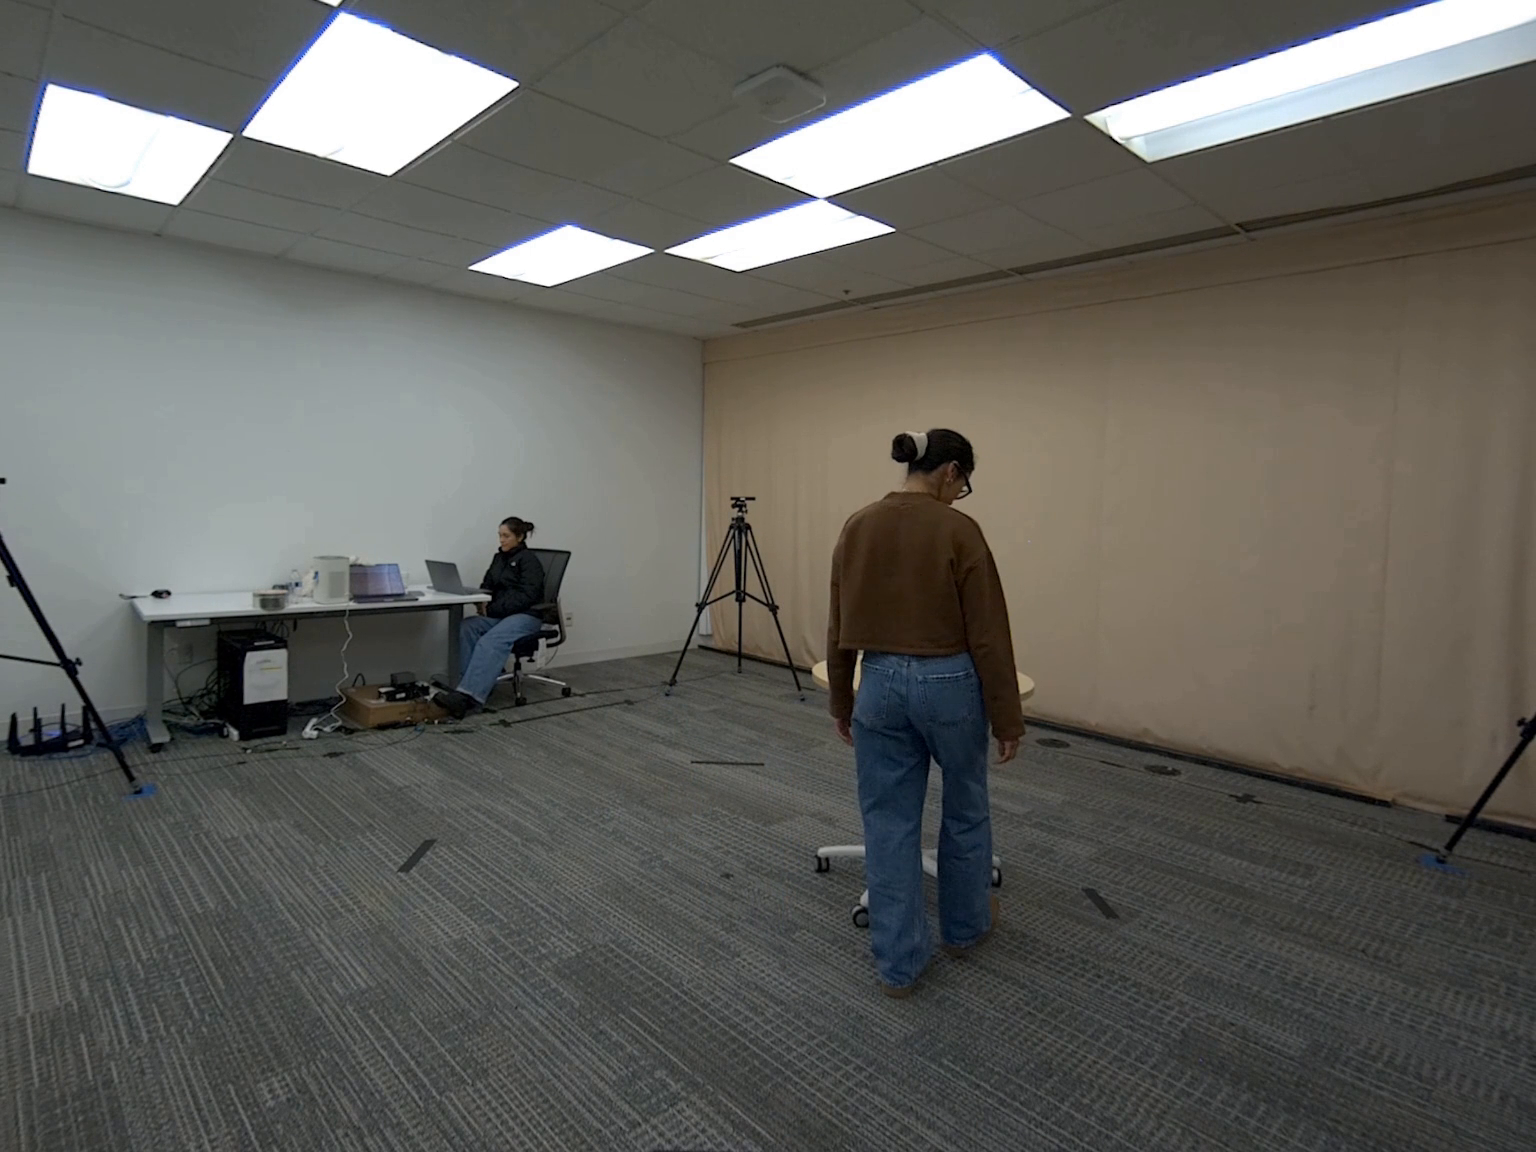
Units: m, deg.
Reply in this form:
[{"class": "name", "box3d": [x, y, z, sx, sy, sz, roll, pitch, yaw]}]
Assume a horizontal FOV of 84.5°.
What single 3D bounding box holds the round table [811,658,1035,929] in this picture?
[{"class": "round table", "box3d": [0.523, 0.746, 3.006, 0.763, 0.792, 0.767, 1, 4, -1]}]
